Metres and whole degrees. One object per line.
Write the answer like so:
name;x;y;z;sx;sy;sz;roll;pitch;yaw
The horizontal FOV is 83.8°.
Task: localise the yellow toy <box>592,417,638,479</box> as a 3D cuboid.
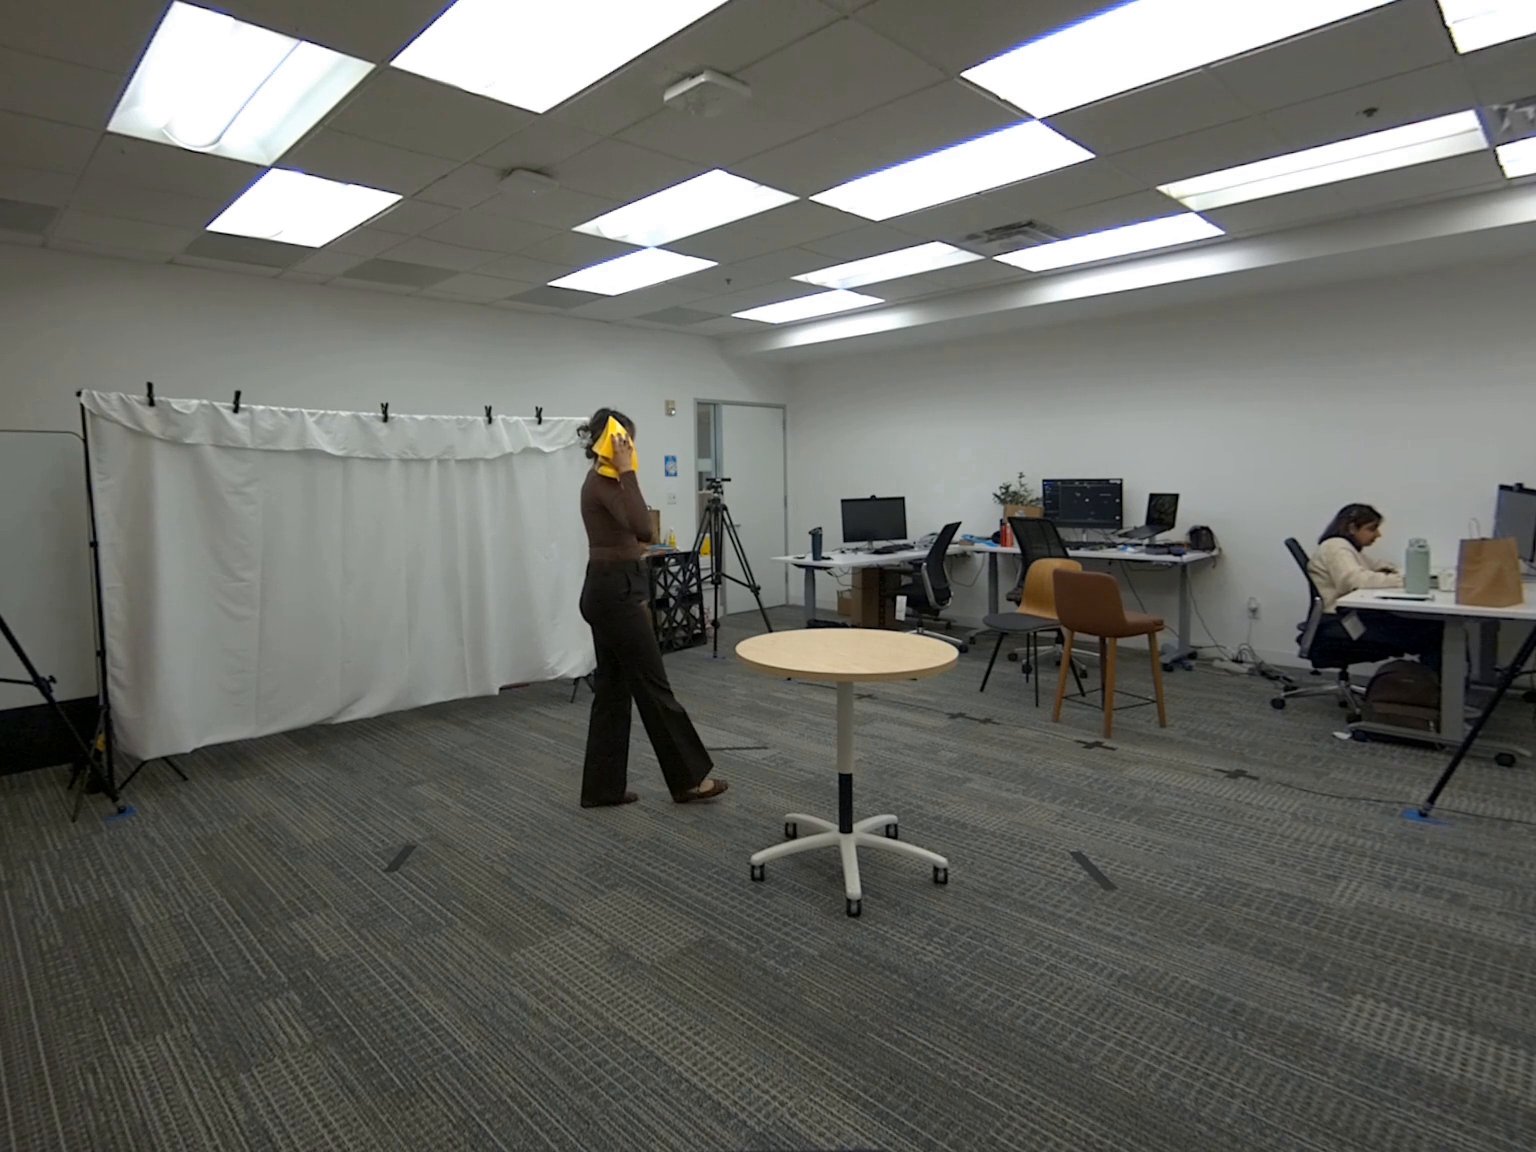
yellow toy;-0.610;-0.524;3.486;0.189;0.229;0.210;9;11;-21
